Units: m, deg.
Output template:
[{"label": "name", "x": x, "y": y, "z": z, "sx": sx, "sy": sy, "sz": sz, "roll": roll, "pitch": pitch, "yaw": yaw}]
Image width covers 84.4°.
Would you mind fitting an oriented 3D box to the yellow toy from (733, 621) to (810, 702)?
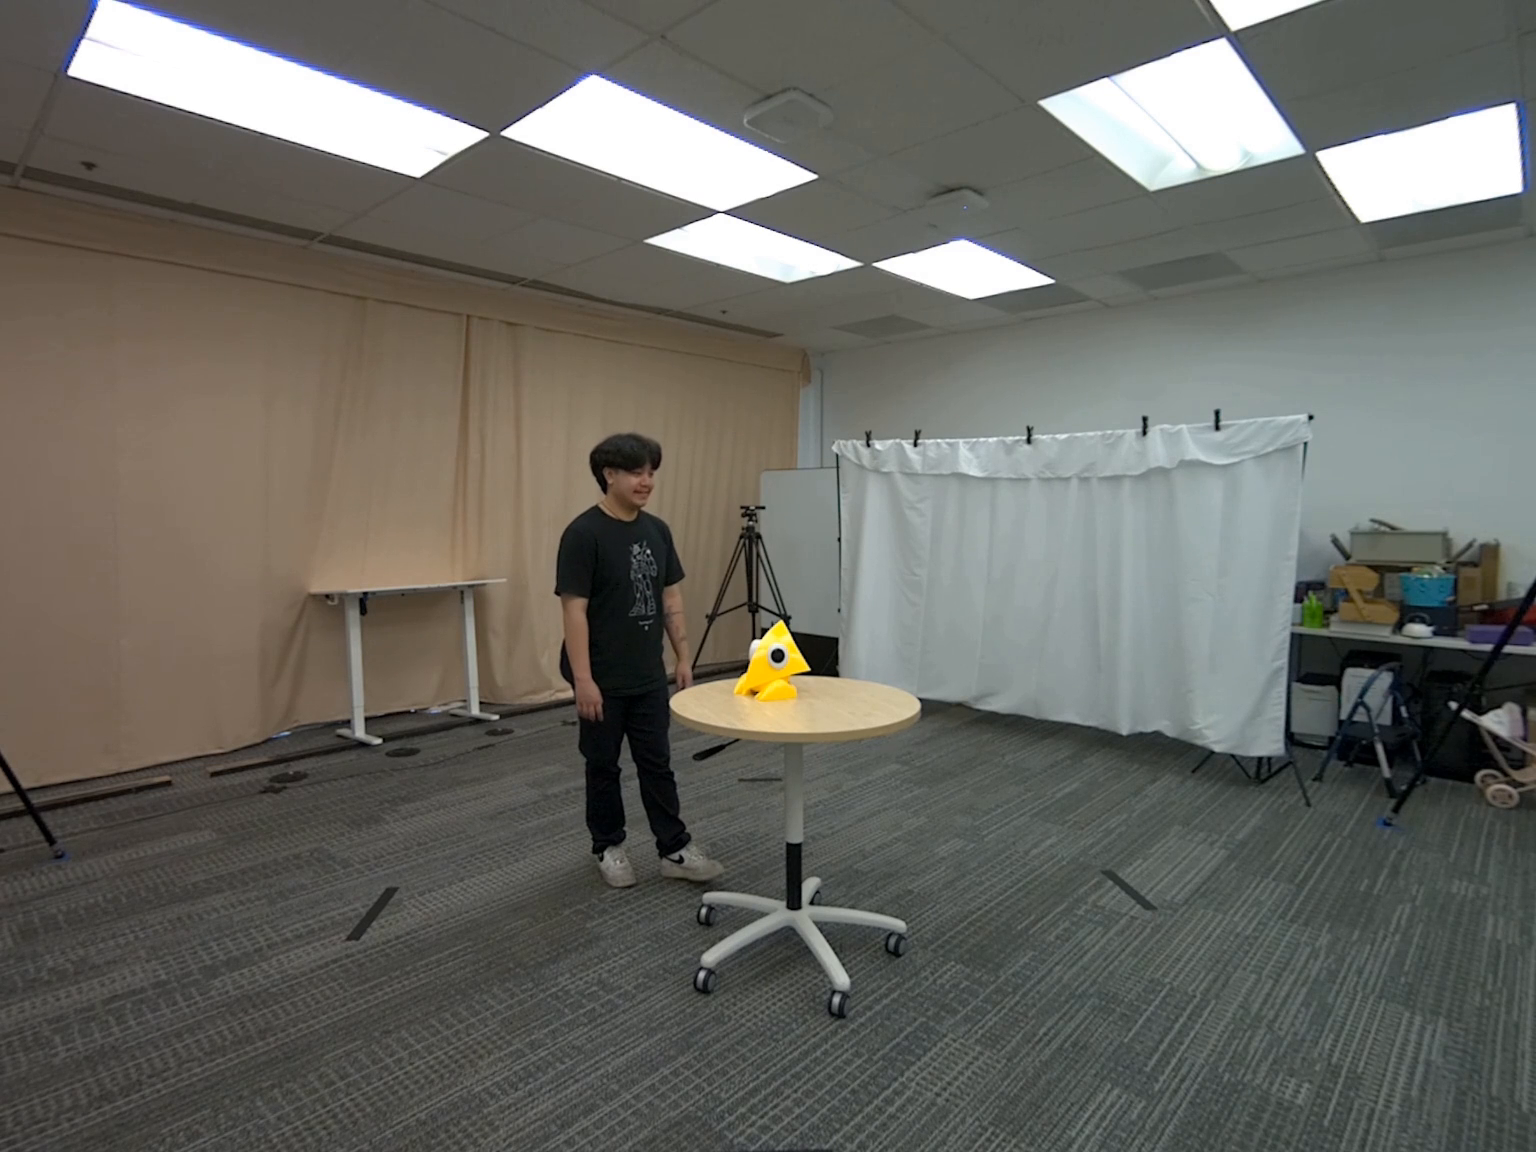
[{"label": "yellow toy", "x": 0.003, "y": 0.263, "z": 2.691, "sx": 0.187, "sy": 0.230, "sz": 0.211, "roll": -4, "pitch": 5, "yaw": -39}]
